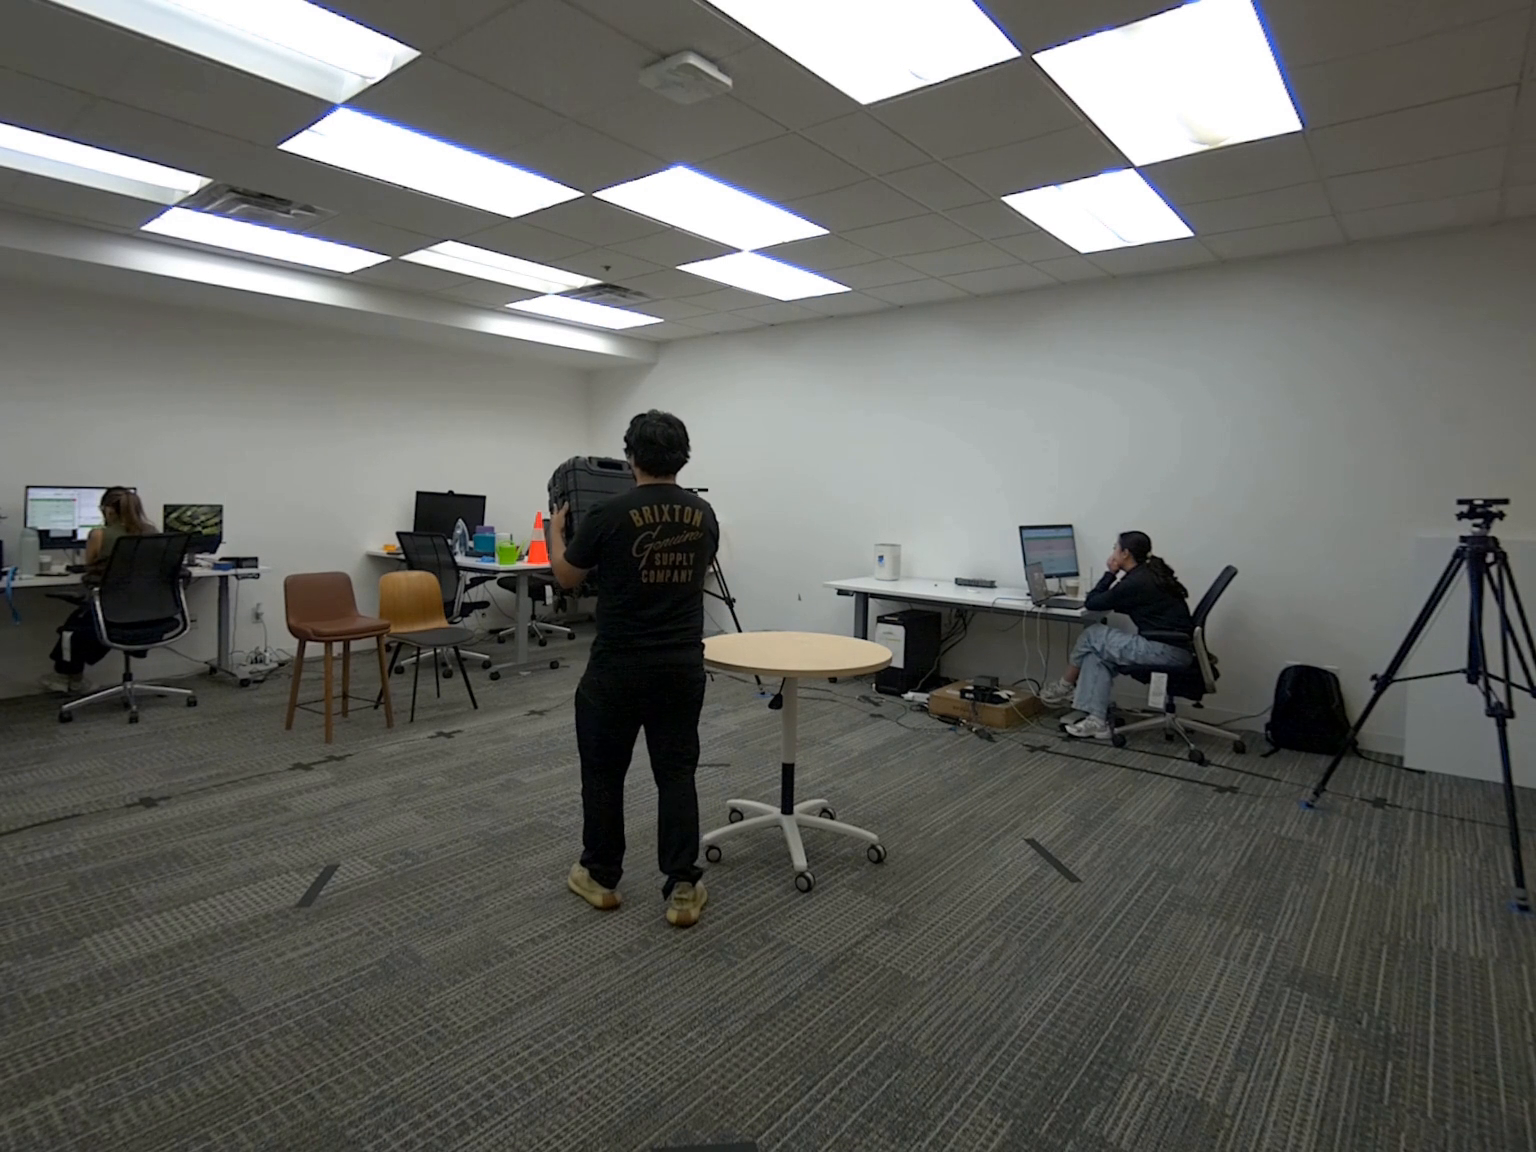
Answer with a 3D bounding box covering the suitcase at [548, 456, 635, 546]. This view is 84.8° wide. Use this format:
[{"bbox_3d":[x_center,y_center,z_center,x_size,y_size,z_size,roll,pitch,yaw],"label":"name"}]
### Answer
[{"bbox_3d":[-0.628,-0.166,3.154,0.364,0.560,0.251,3,-20,-33],"label":"suitcase"}]
